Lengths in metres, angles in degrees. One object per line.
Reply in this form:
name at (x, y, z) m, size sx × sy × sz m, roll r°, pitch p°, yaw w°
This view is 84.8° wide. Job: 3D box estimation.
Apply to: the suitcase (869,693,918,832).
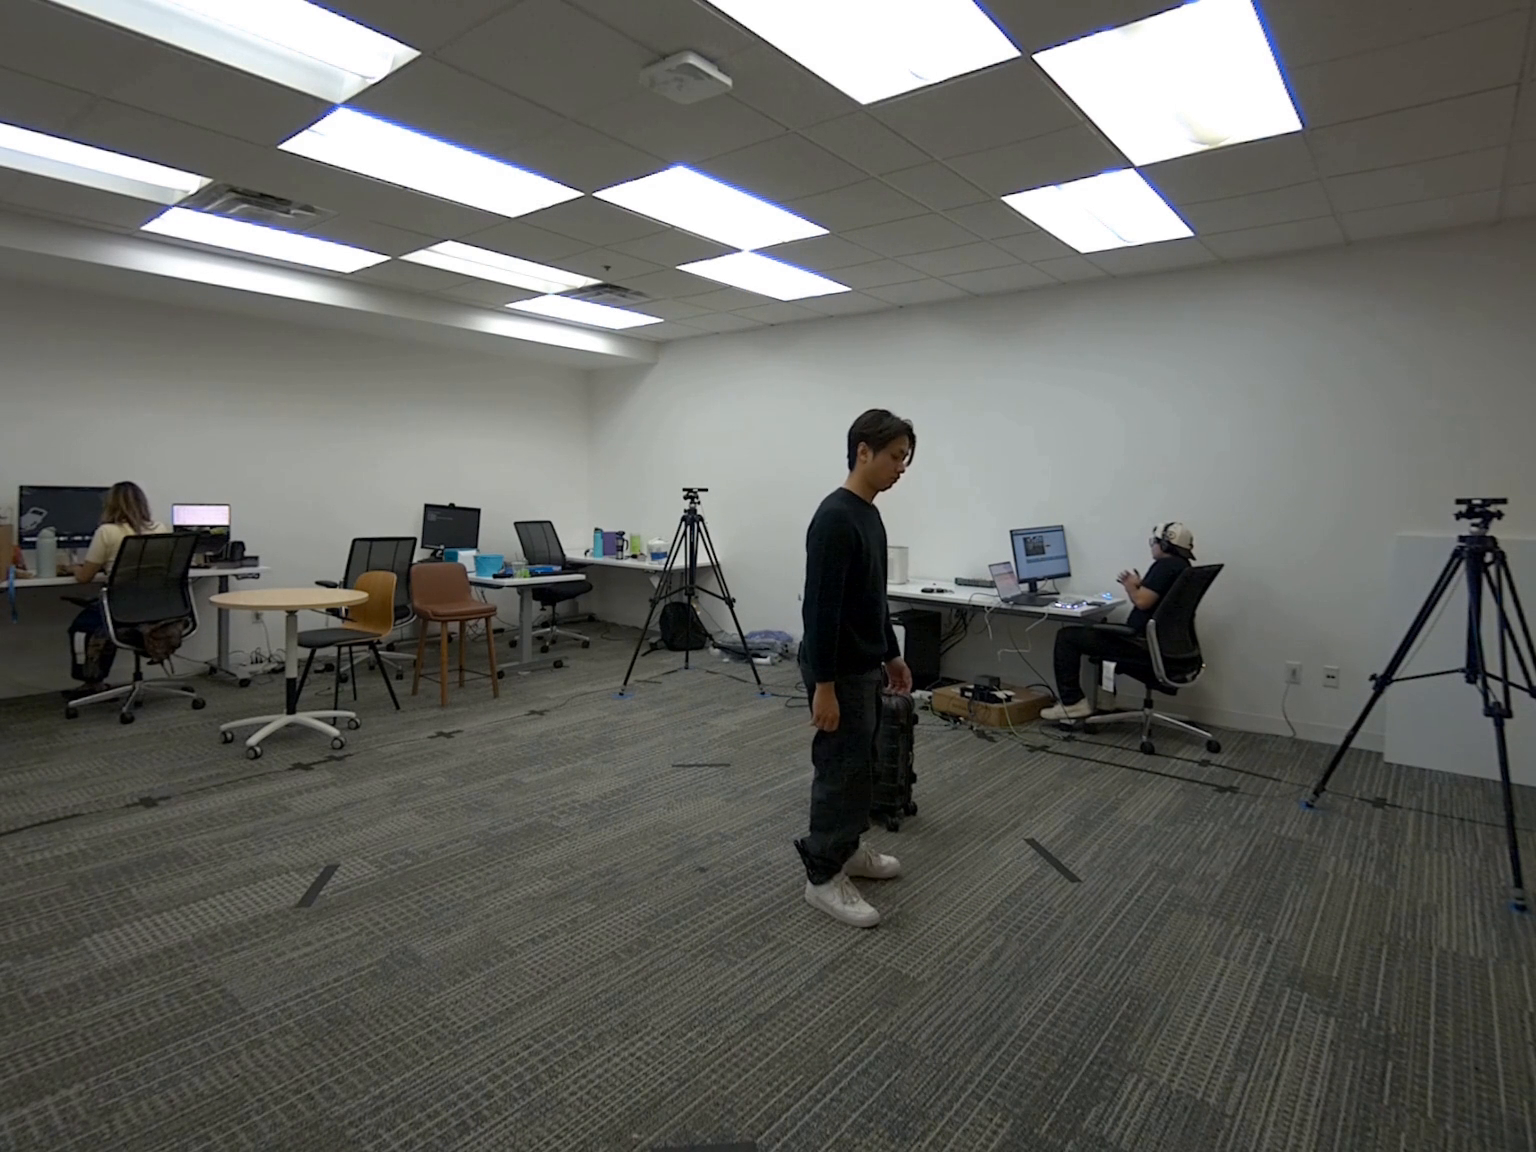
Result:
suitcase at (0.430, 0.747, 3.686) m, size 0.387 × 0.549 × 0.241 m, roll 2°, pitch 2°, yaw 32°
